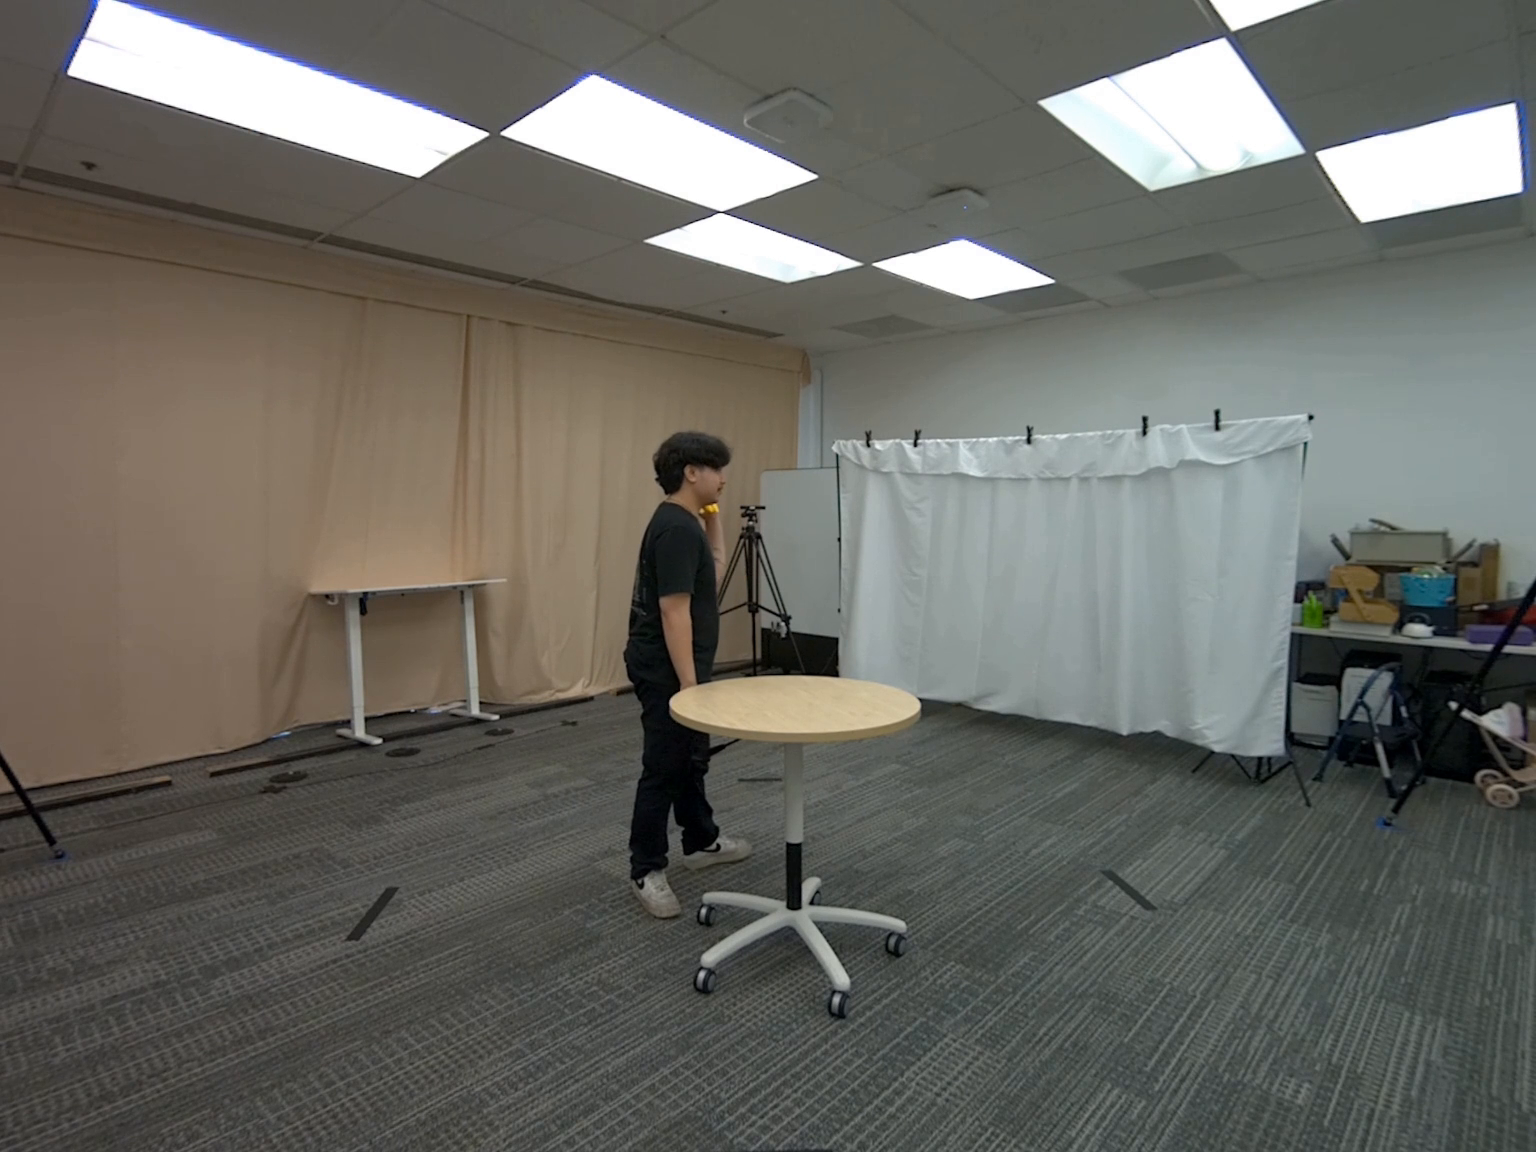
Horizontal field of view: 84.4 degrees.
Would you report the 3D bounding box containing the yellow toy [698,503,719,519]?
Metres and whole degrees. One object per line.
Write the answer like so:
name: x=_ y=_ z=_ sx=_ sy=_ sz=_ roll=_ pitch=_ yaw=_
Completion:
yellow toy: x=-0.278 y=-0.378 z=3.224 sx=0.198 sy=0.230 sz=0.200 roll=15 pitch=11 yaw=24
